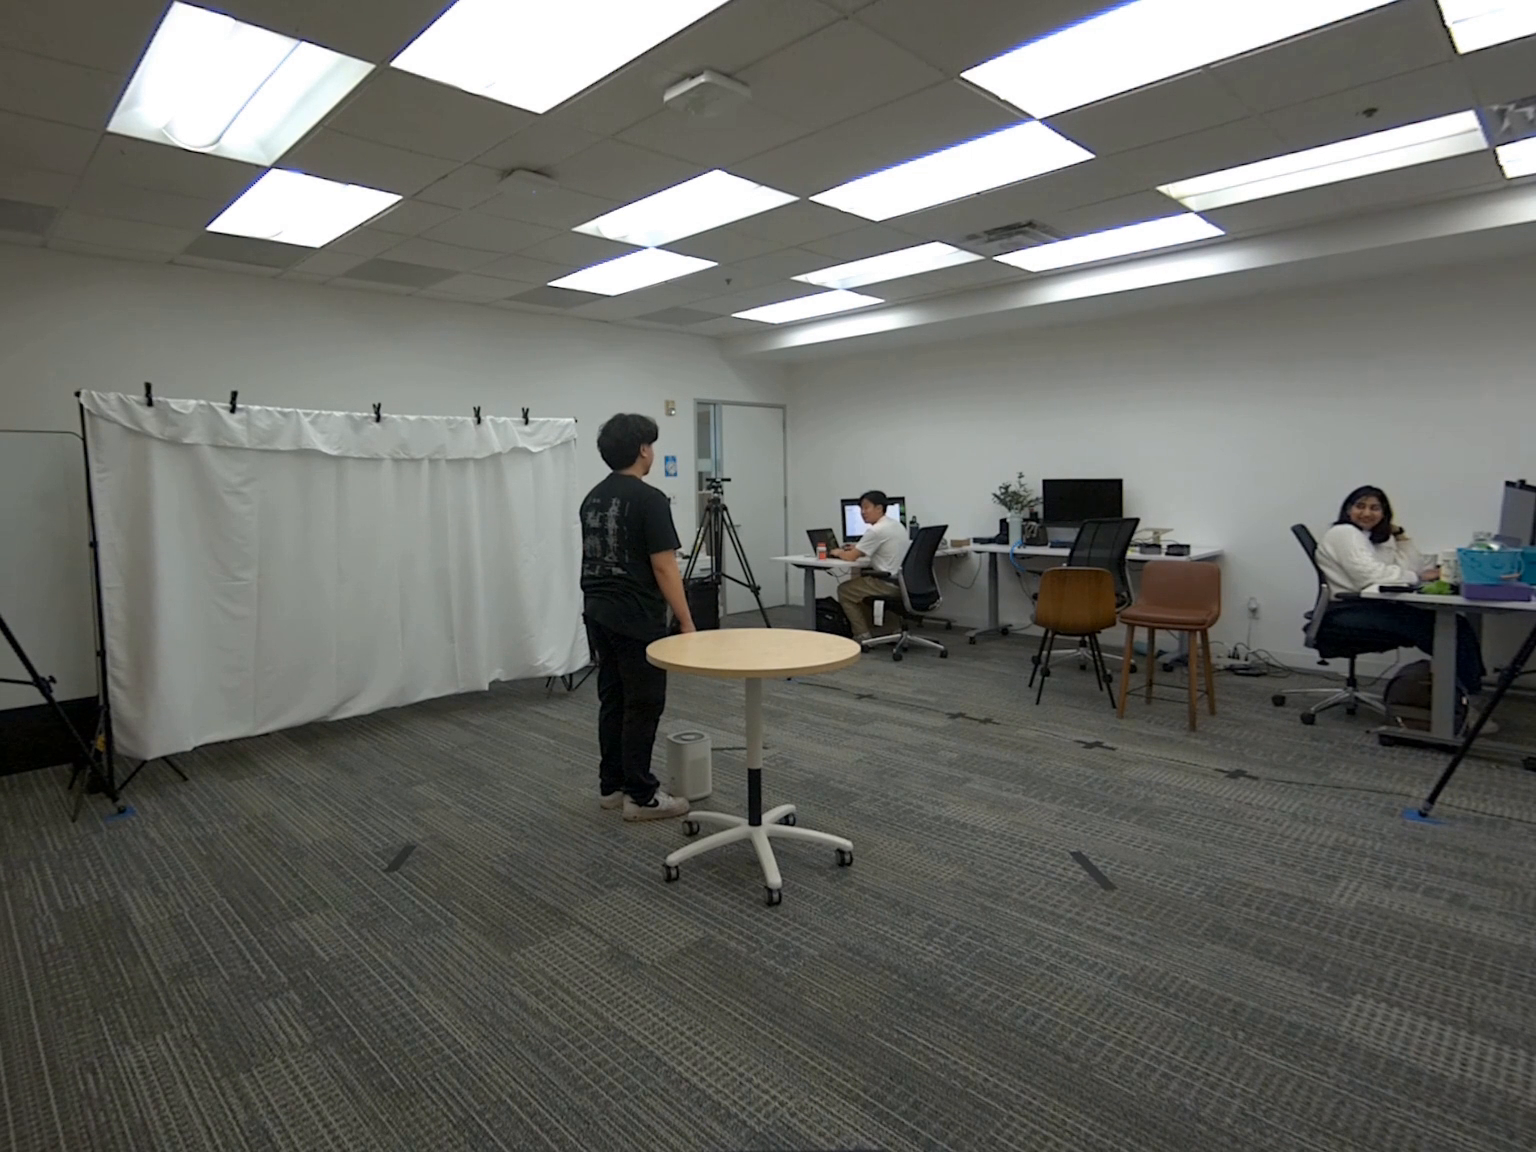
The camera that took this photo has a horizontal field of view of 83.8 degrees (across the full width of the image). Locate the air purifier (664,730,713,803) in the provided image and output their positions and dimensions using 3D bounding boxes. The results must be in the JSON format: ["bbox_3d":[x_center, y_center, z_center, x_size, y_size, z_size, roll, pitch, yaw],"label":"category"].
[{"bbox_3d":[-0.345,0.840,3.781,0.167,0.264,0.176,-2,5,-35],"label":"air purifier"}]
